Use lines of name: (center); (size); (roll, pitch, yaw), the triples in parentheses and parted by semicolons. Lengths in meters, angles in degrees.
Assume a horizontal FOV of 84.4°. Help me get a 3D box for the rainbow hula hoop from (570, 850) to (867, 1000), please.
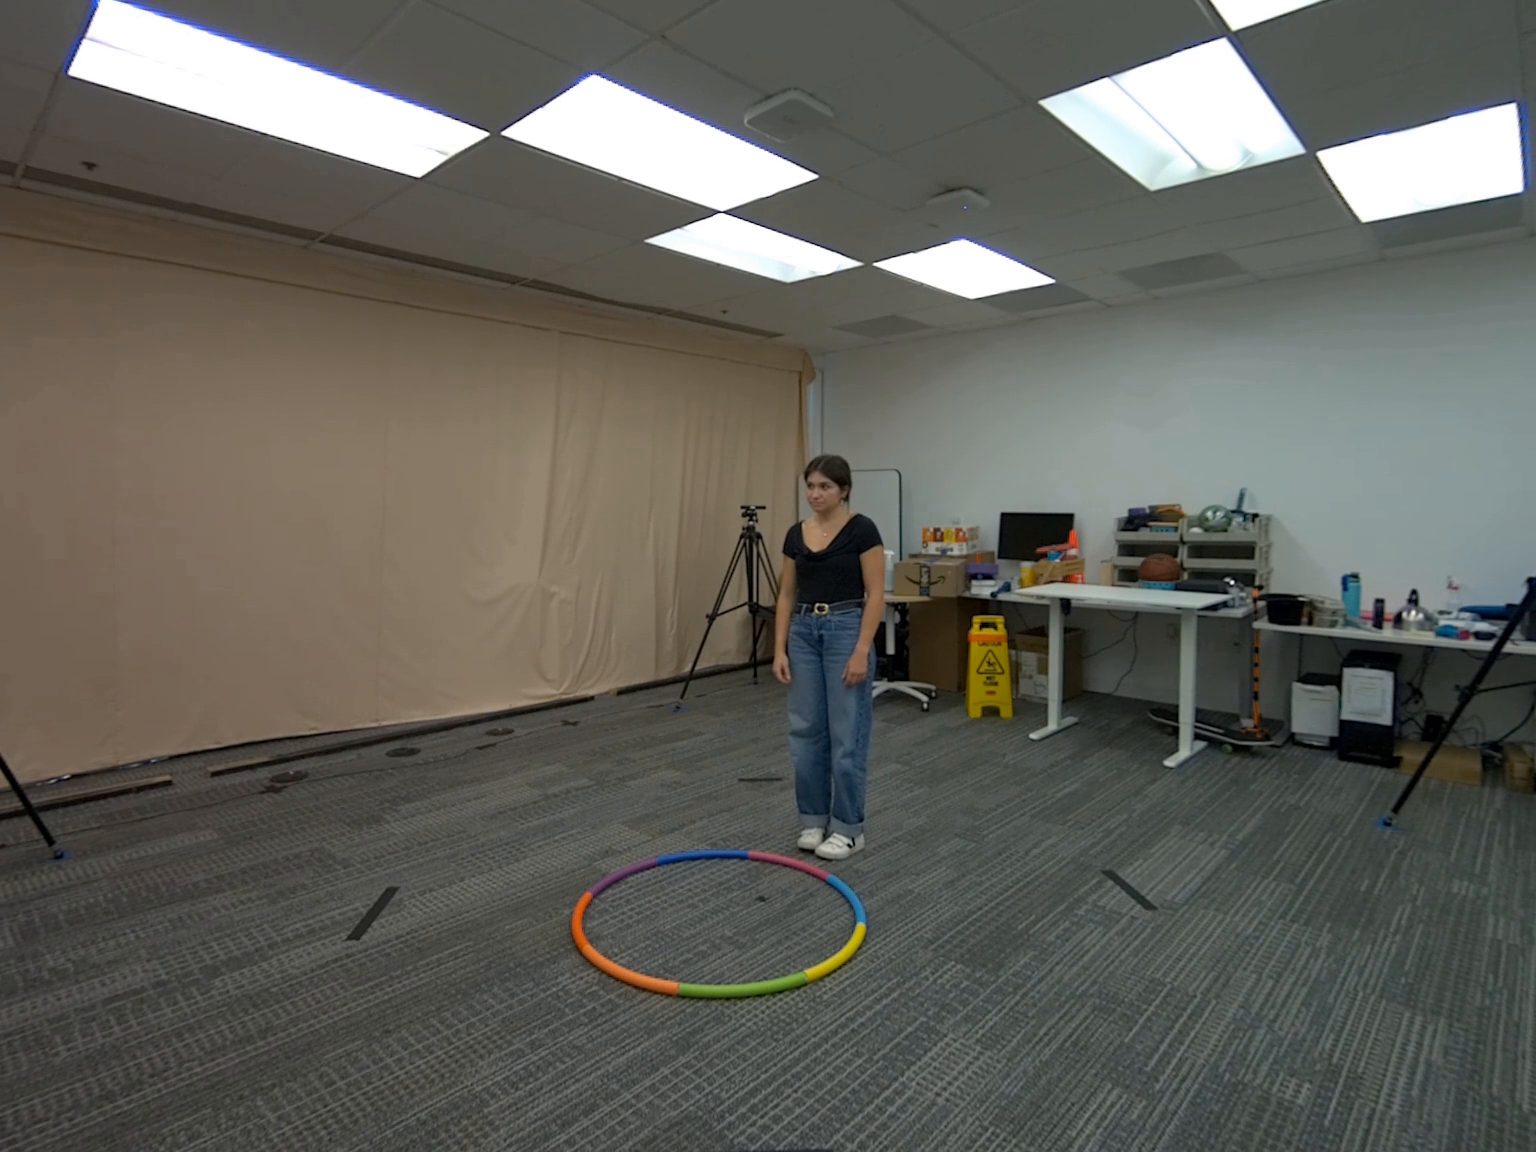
rainbow hula hoop: (-0.159, 1.127, 2.860); (0.978, 0.035, 0.982); (-1, 5, -2)
